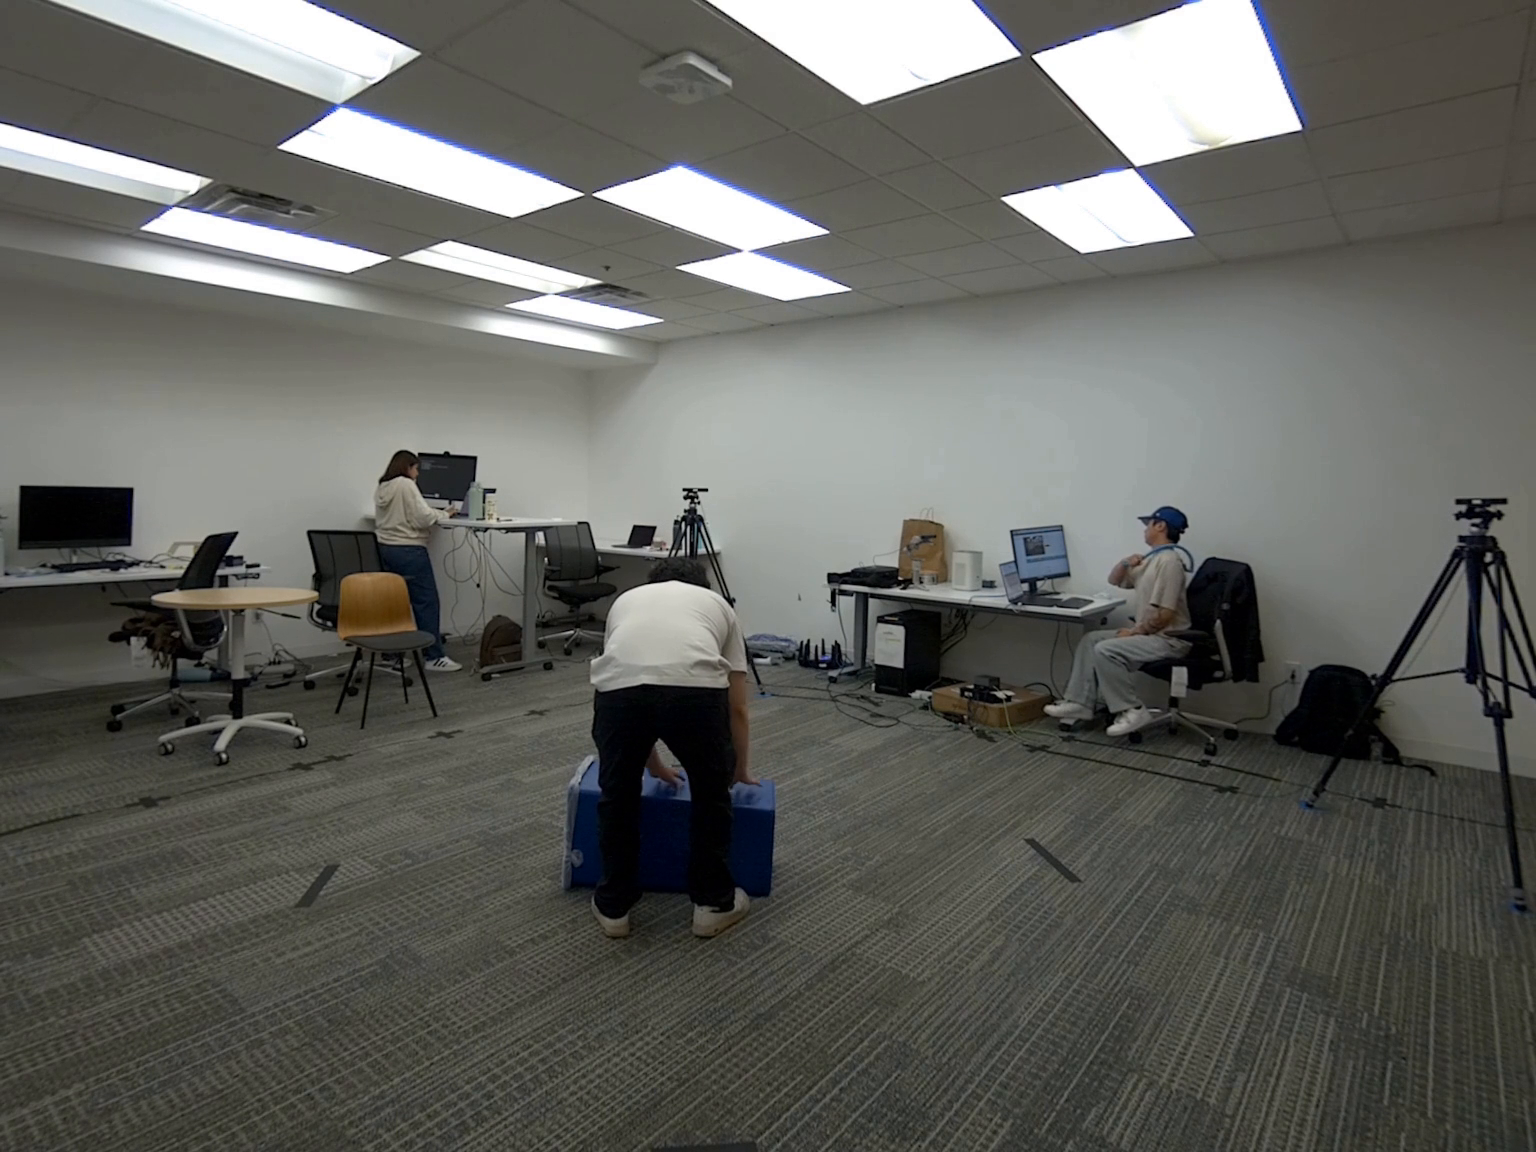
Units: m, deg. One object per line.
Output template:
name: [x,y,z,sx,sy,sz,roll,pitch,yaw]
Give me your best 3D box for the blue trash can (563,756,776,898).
blue trash can: [-0.353,0.901,3.068,0.715,0.377,0.374,4,3,2]
